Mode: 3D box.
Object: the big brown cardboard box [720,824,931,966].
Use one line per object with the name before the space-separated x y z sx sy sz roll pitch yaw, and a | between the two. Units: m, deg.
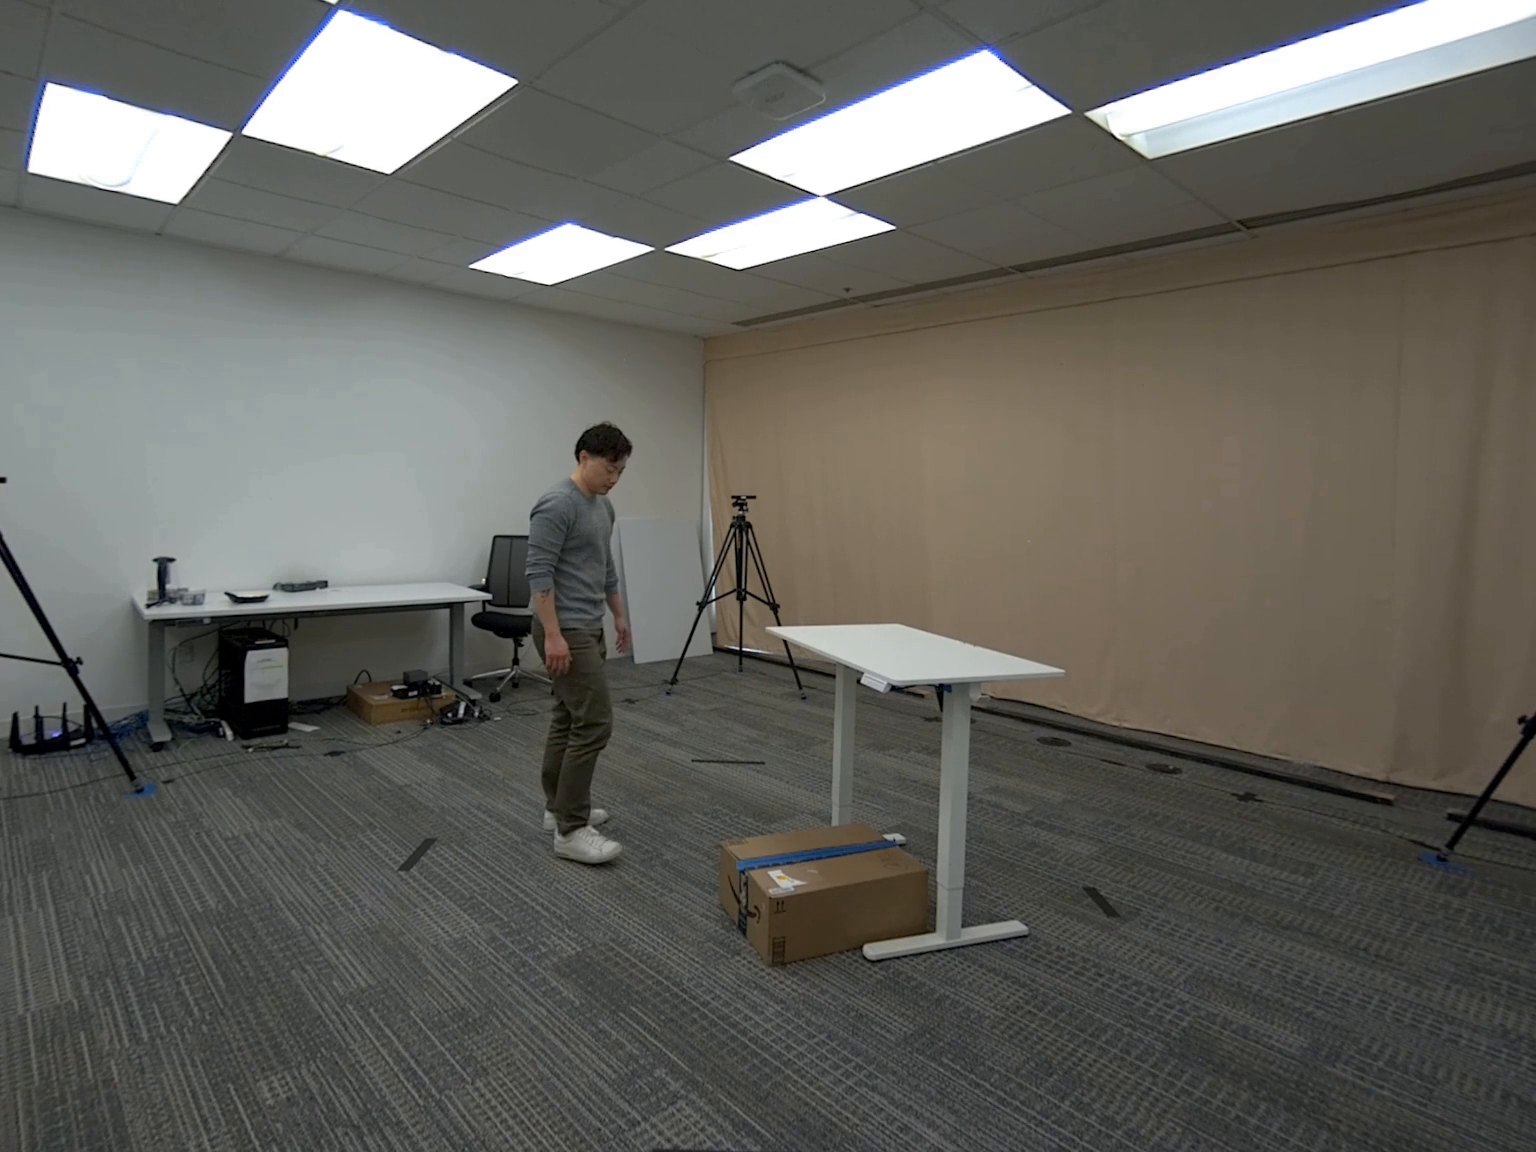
big brown cardboard box | 0.167 1.026 2.779 0.579 0.232 0.426 0 5 -24
